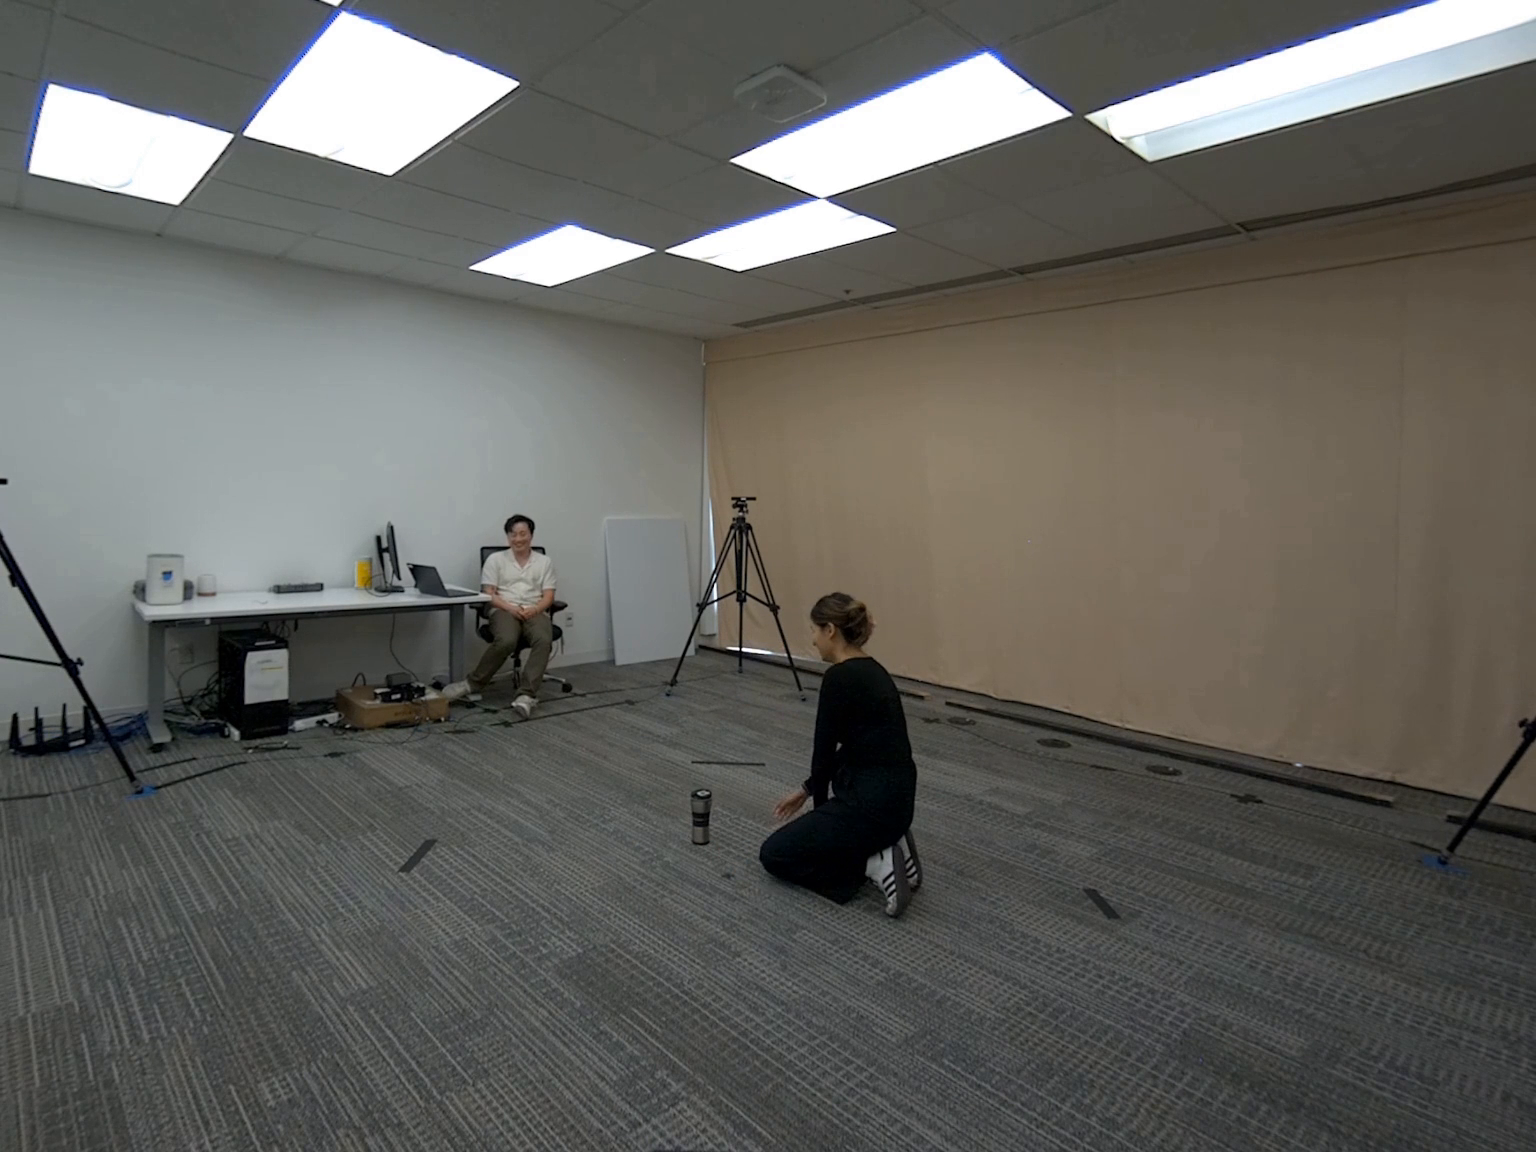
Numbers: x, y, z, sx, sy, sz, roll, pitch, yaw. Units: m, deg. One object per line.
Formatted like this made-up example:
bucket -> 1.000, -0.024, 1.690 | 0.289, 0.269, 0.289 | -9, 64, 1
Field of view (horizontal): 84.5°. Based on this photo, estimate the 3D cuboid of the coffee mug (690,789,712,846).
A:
coffee mug -> -0.265, 0.972, 3.418 | 0.089, 0.202, 0.120 | 0, 6, 24
